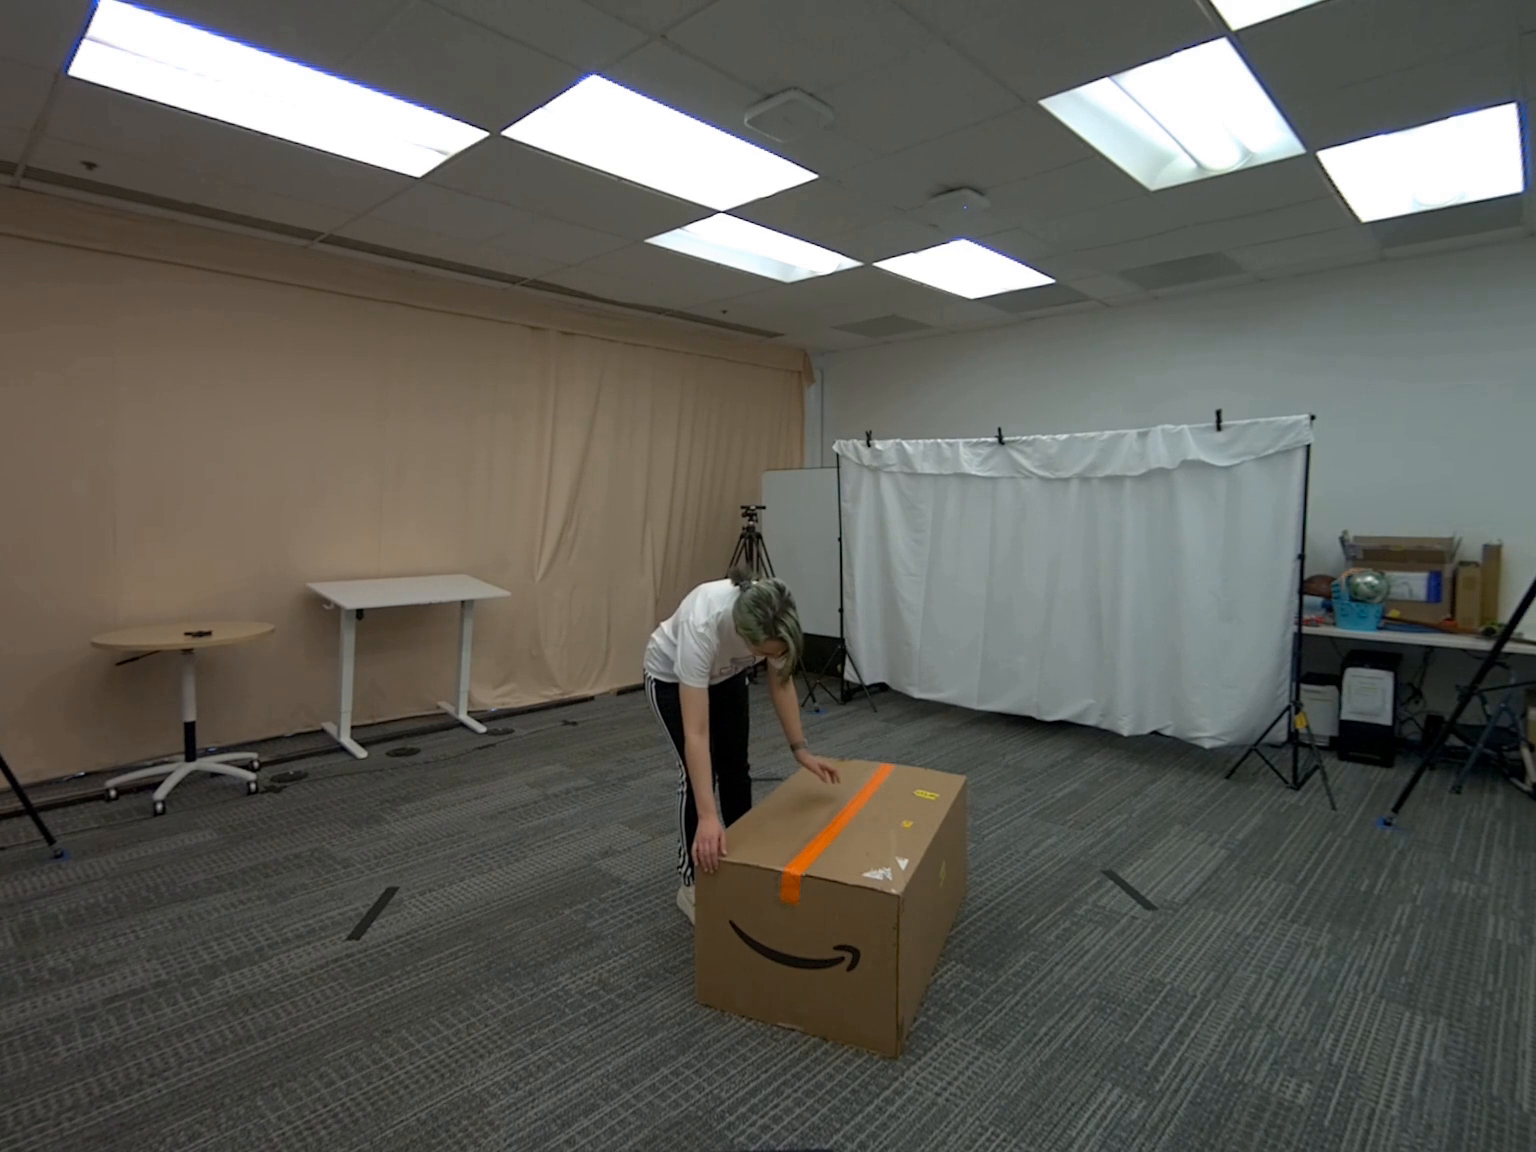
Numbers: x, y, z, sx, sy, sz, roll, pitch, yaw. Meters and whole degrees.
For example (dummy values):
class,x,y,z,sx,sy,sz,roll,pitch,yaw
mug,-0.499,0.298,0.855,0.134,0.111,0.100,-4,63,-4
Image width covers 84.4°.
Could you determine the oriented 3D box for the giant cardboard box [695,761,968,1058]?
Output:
class,x,y,z,sx,sy,sz,roll,pitch,yaw
giant cardboard box,0.260,0.950,2.683,0.592,0.425,1.003,2,5,23
